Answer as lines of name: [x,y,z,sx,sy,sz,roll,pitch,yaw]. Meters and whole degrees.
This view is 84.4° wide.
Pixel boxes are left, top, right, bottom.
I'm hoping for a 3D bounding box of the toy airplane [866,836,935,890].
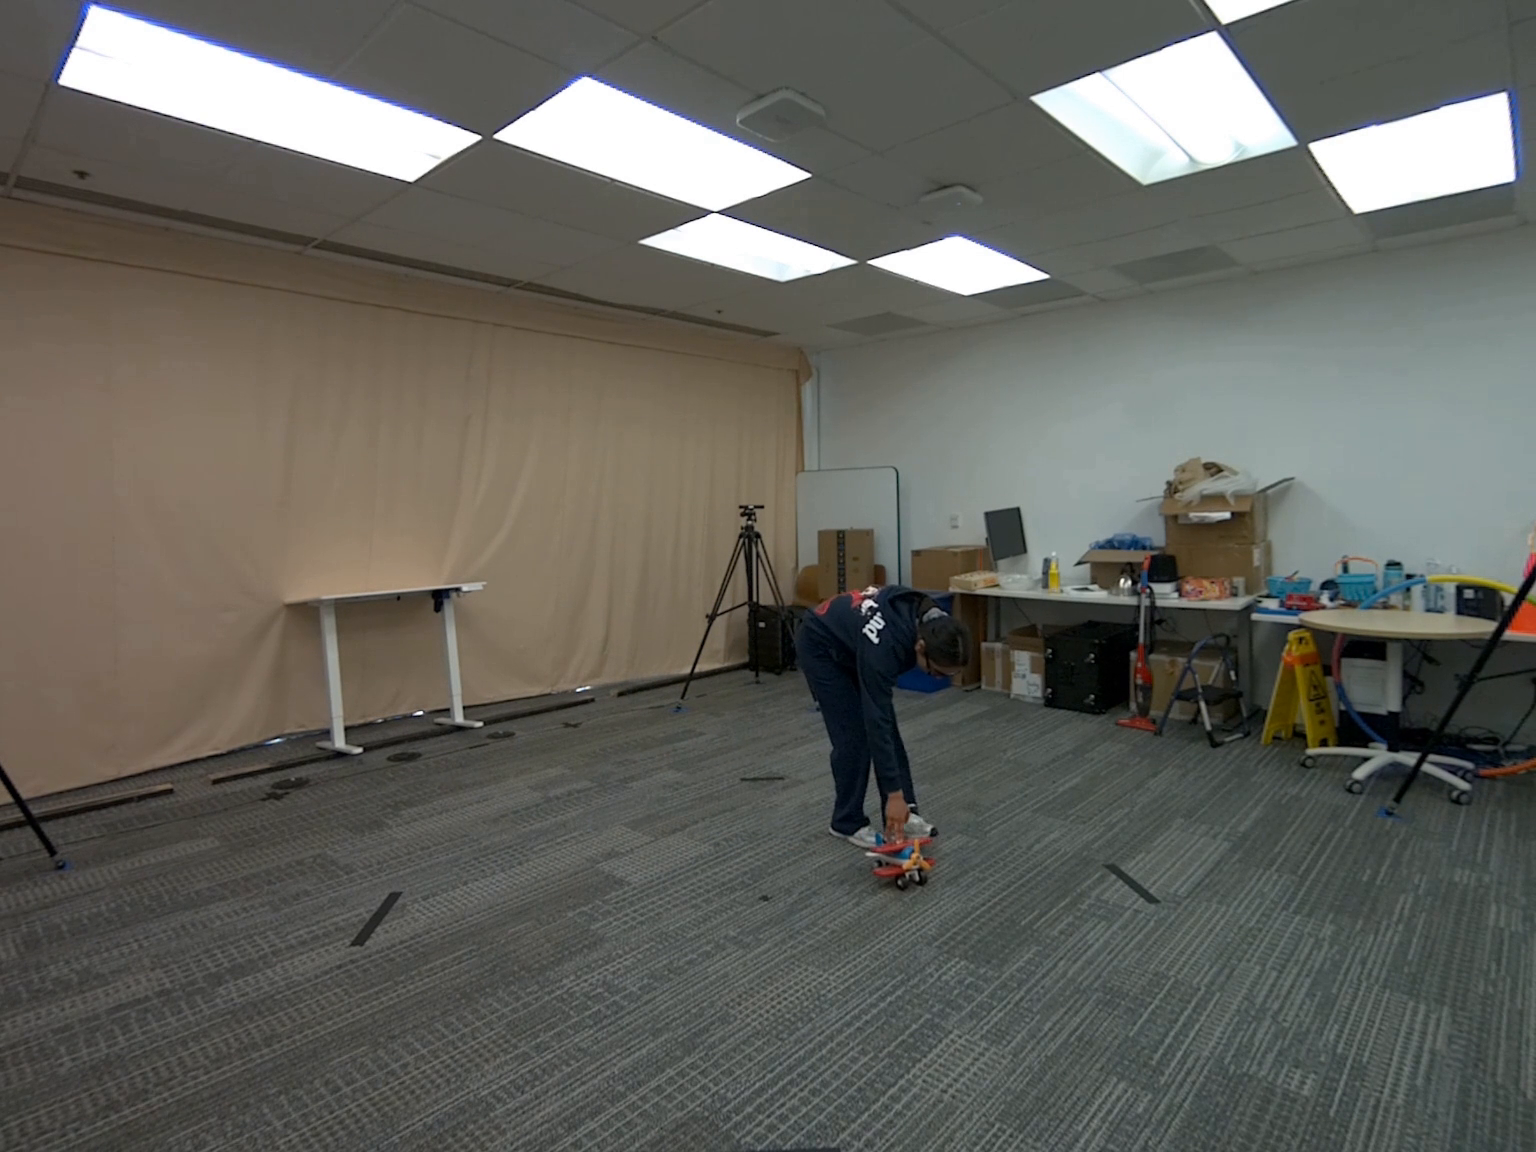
toy airplane: [0.470,1.044,3.113,0.267,0.156,0.244,3,6,36]
